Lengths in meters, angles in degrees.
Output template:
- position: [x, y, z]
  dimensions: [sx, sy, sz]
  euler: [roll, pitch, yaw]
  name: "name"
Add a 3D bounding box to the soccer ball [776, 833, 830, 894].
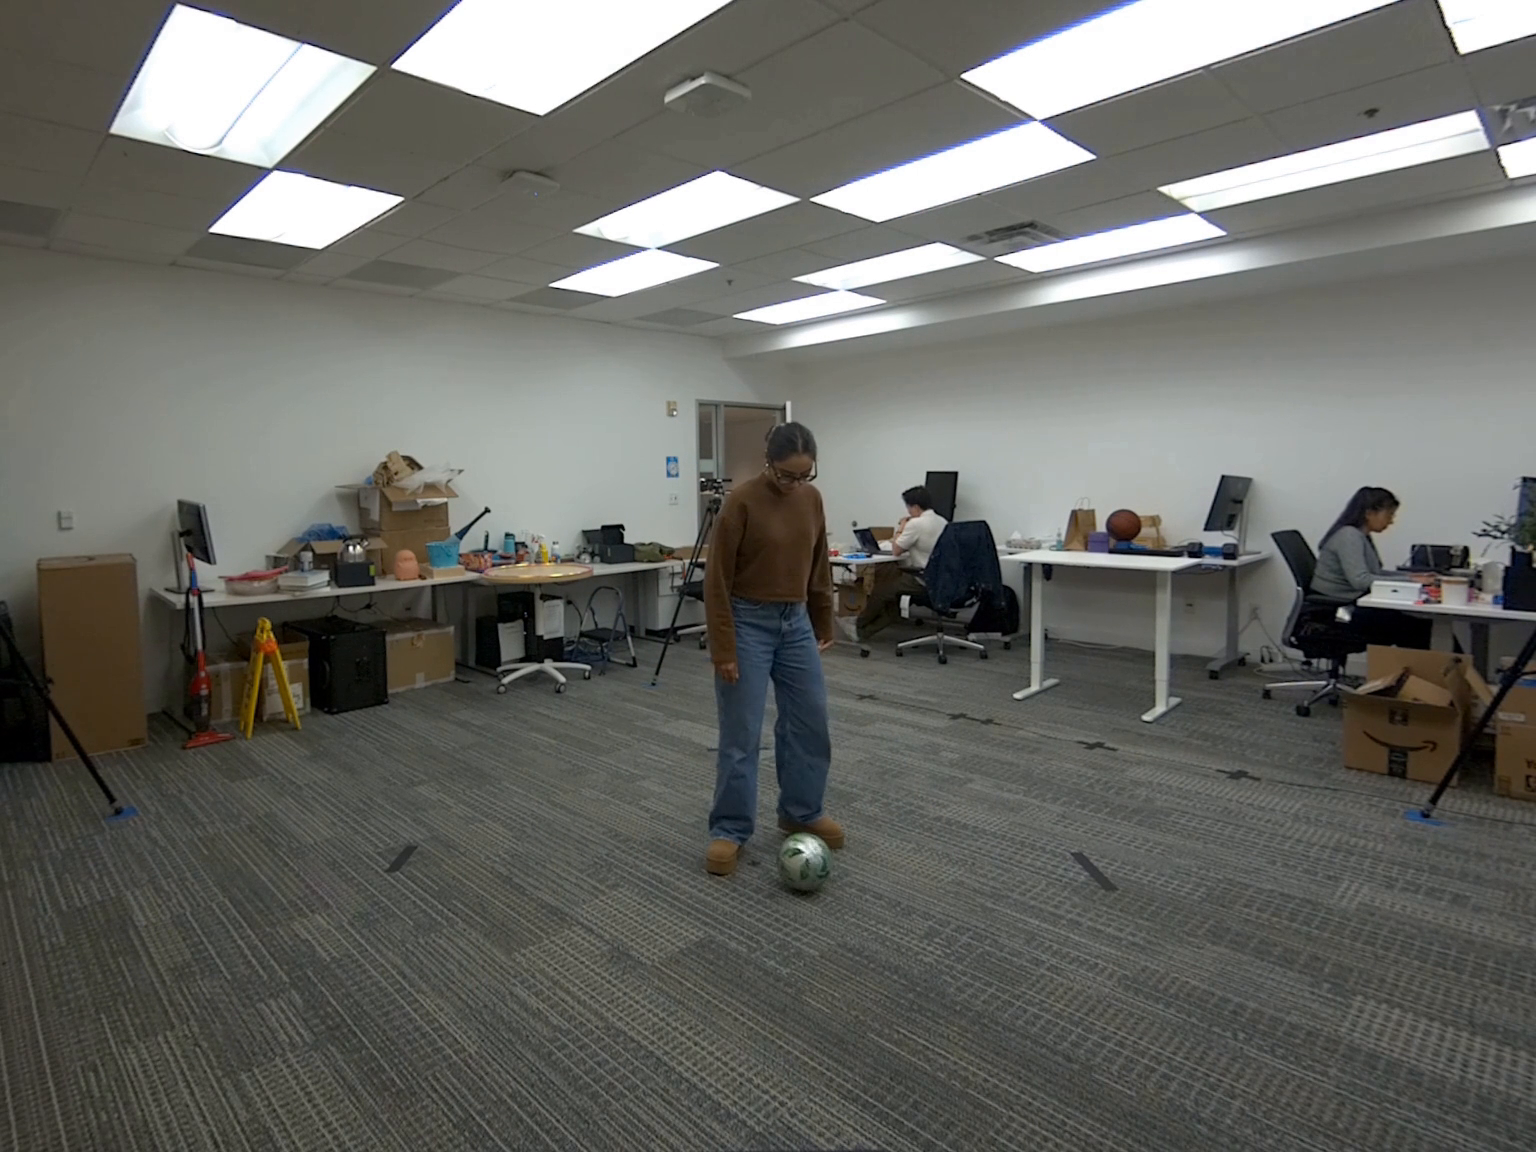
- position: [0.123, 0.973, 2.901]
  dimensions: [0.187, 0.187, 0.188]
  euler: [-1, 5, -2]
  name: "soccer ball"
